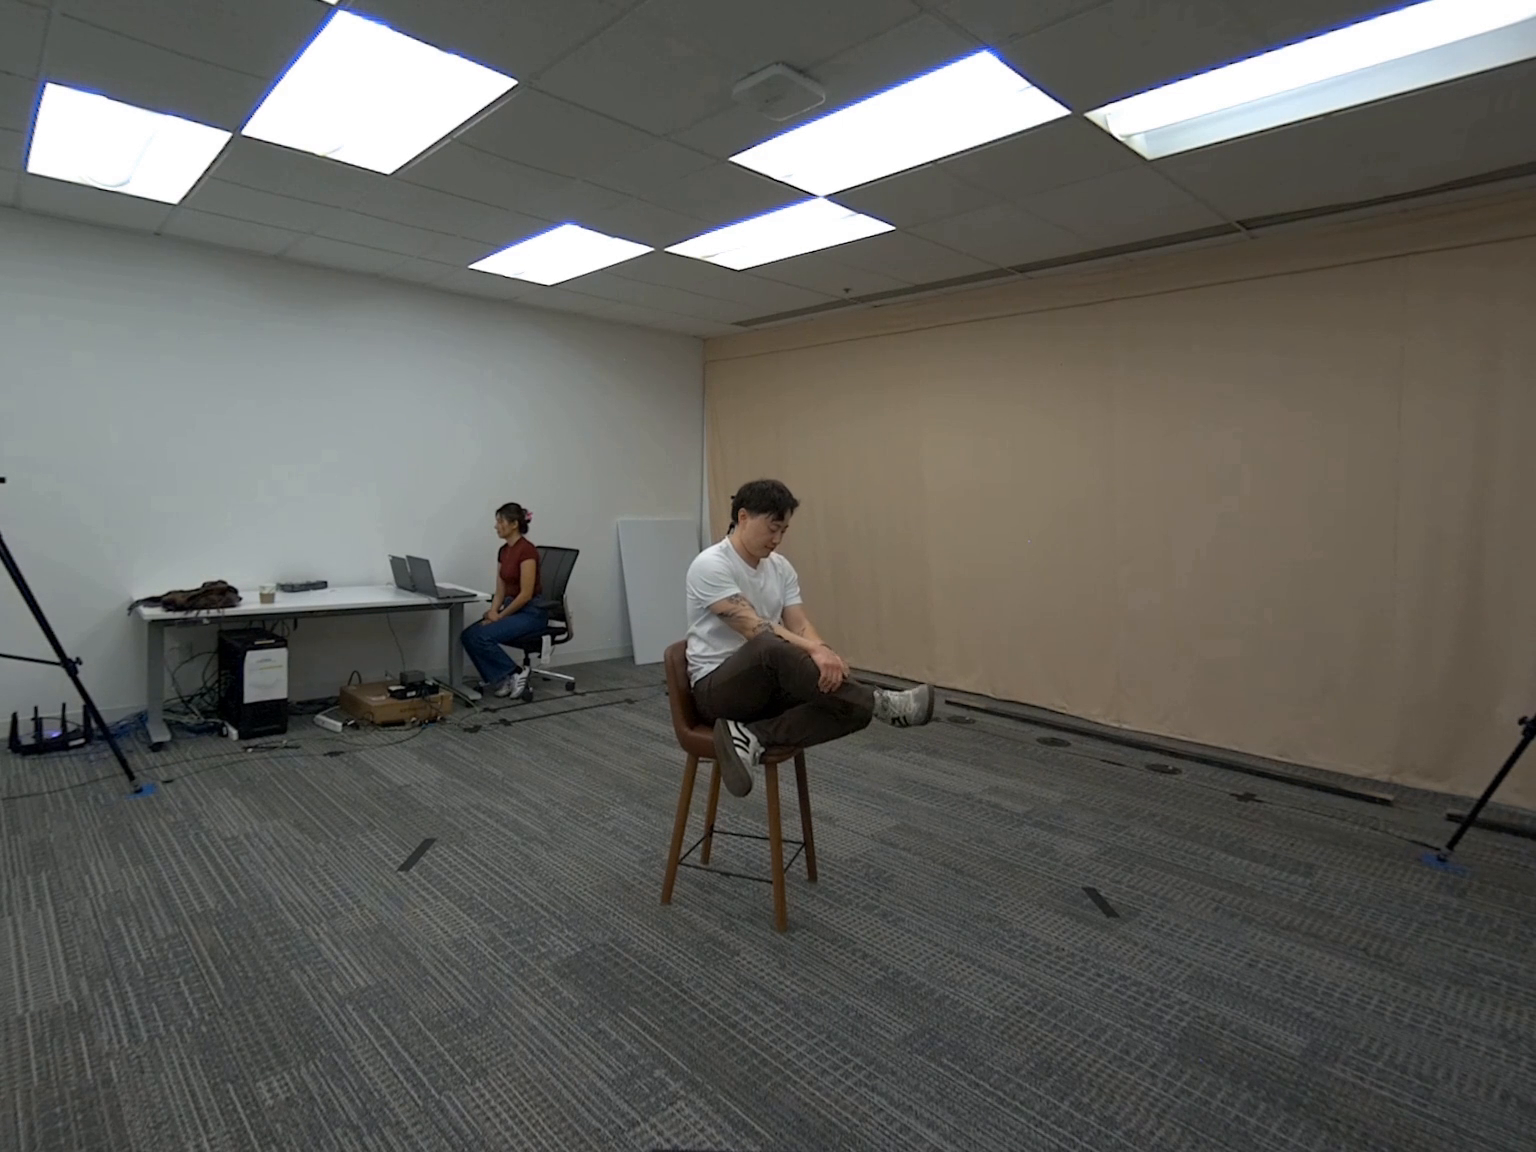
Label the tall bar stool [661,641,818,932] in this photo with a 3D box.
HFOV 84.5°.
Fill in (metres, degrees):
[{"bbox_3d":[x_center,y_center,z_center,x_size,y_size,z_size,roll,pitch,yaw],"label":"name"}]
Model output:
[{"bbox_3d":[-0.104,0.689,2.944,0.475,0.888,0.450,0,3,21],"label":"tall bar stool"}]
